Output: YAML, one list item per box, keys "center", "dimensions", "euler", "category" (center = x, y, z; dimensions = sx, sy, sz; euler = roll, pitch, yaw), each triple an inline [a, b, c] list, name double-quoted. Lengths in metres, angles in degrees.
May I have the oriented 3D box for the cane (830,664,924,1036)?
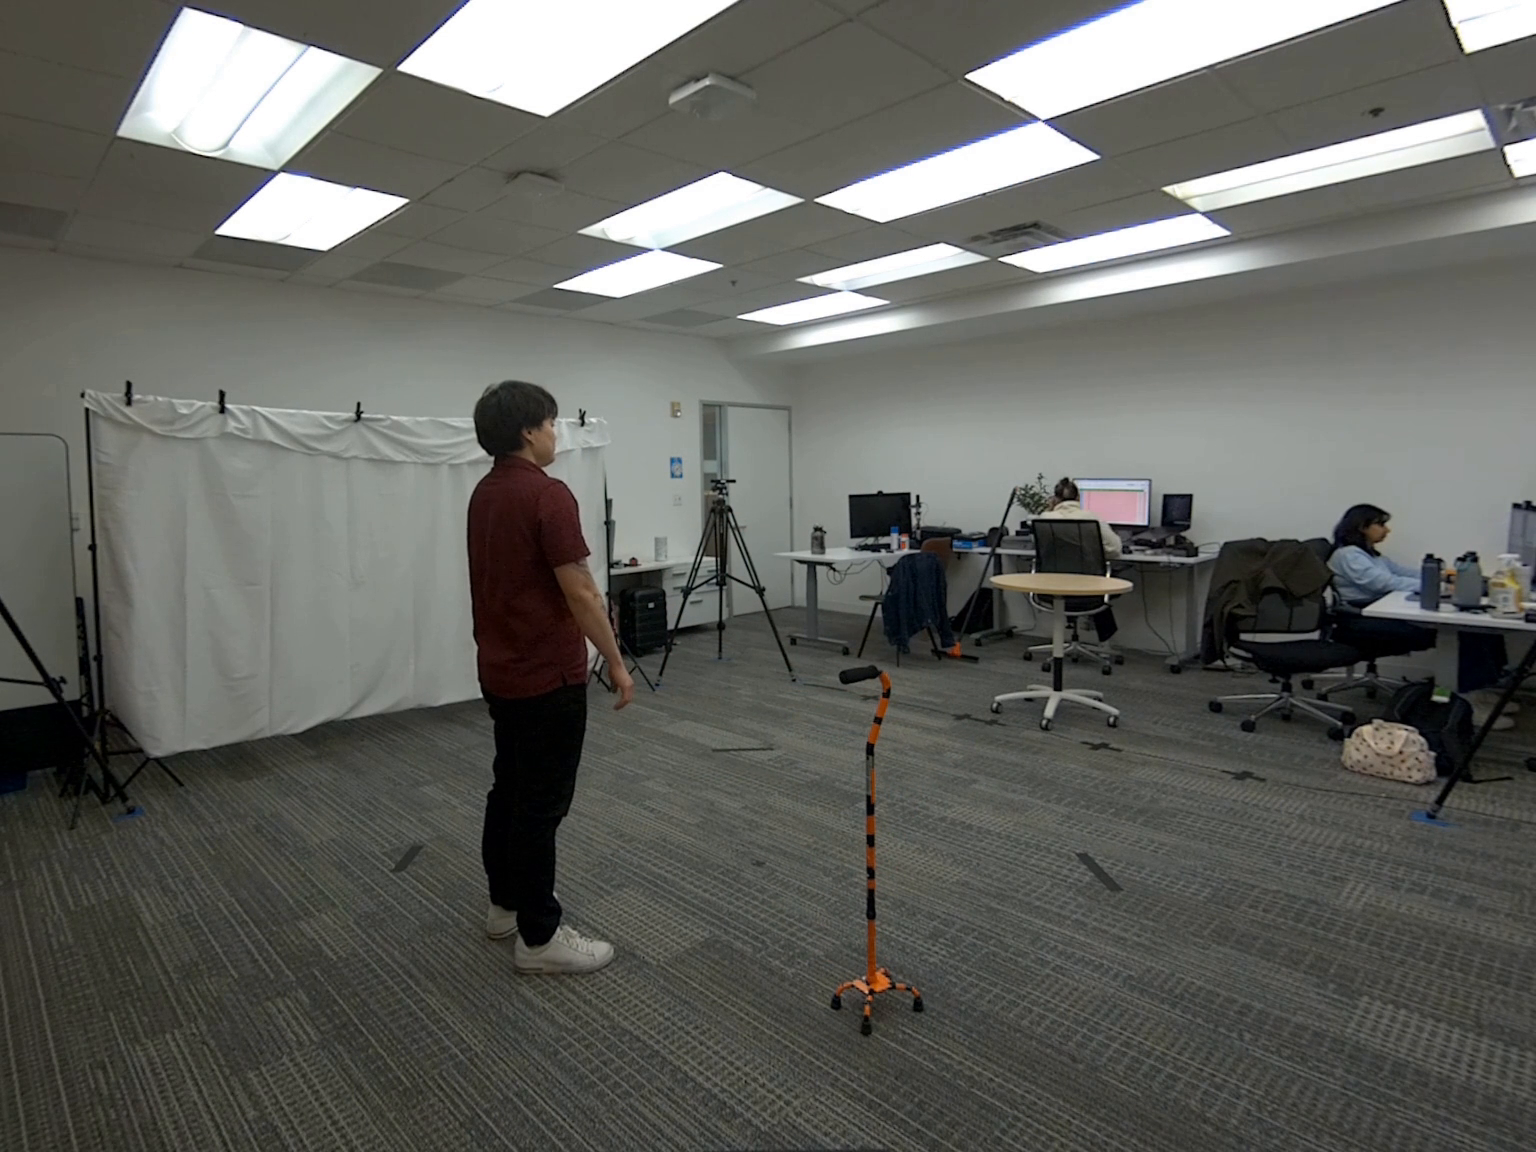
- center: [0.274, 0.682, 2.228]
  dimensions: [0.201, 0.905, 0.156]
  euler: [-4, 4, -31]
  category: "cane"
